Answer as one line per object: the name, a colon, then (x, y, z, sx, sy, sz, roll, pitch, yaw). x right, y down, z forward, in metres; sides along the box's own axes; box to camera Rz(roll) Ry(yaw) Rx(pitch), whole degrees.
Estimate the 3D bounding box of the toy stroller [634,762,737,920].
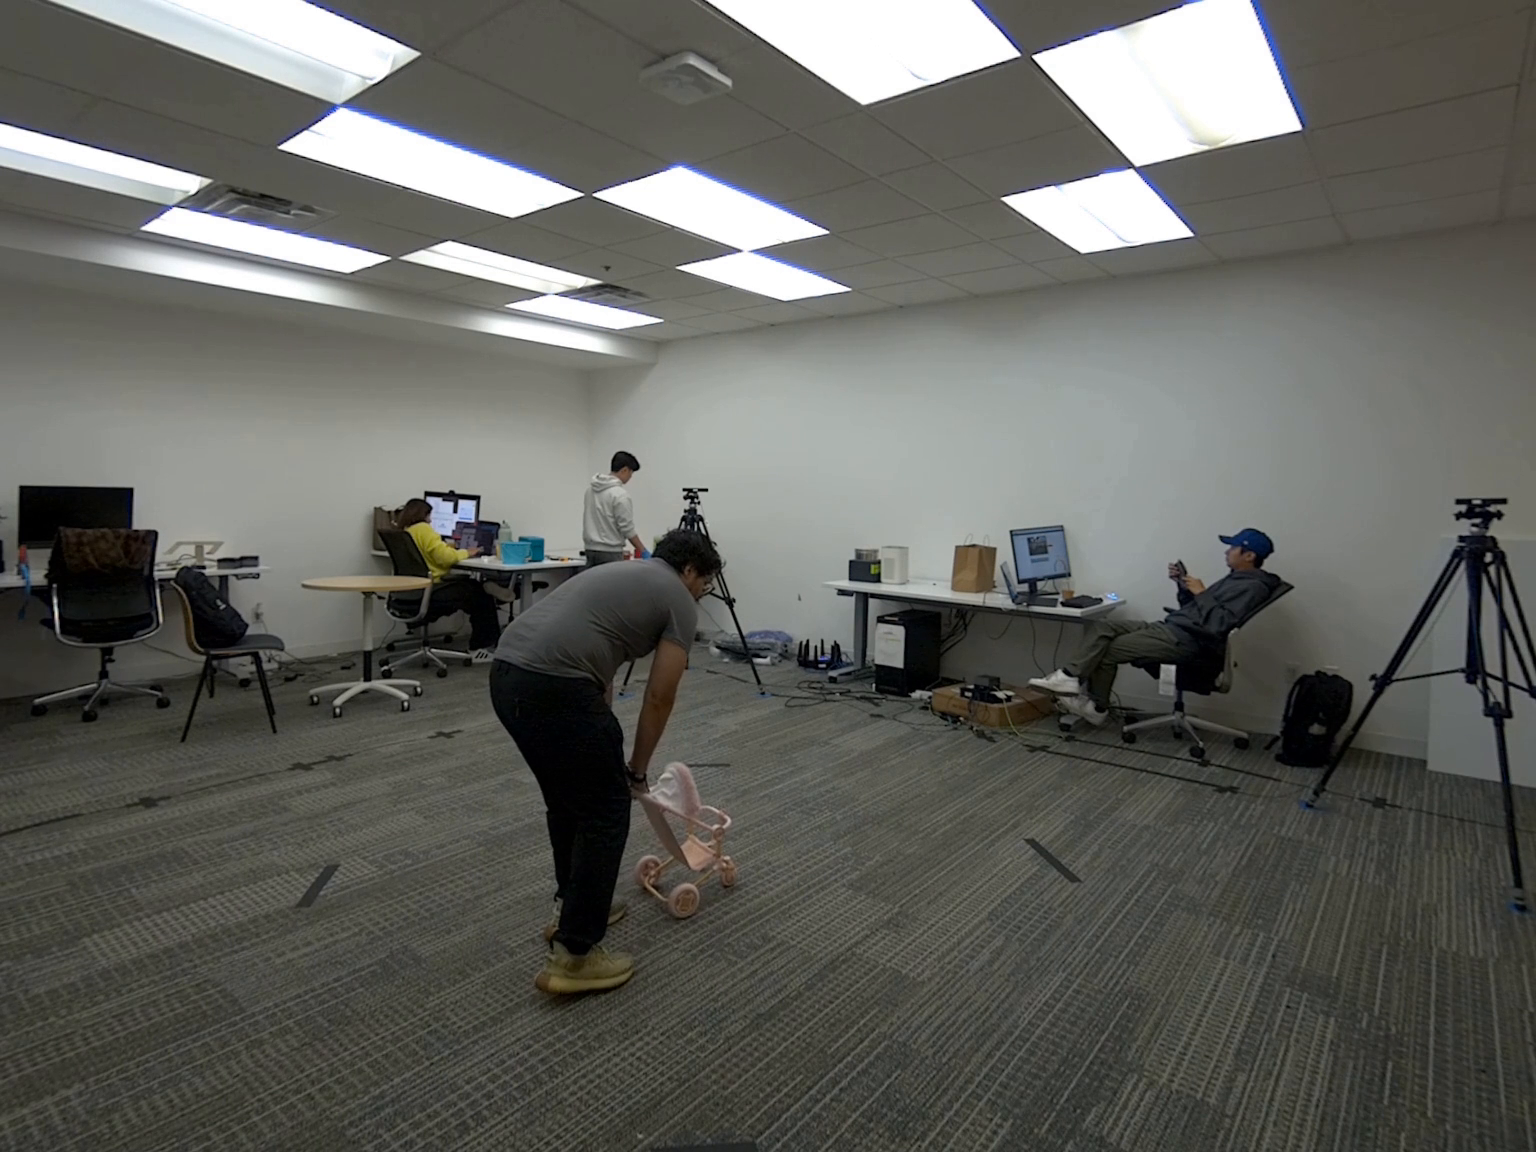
toy stroller: (-0.294, 0.864, 2.880, 0.336, 0.529, 0.289, -19, 12, -27)
